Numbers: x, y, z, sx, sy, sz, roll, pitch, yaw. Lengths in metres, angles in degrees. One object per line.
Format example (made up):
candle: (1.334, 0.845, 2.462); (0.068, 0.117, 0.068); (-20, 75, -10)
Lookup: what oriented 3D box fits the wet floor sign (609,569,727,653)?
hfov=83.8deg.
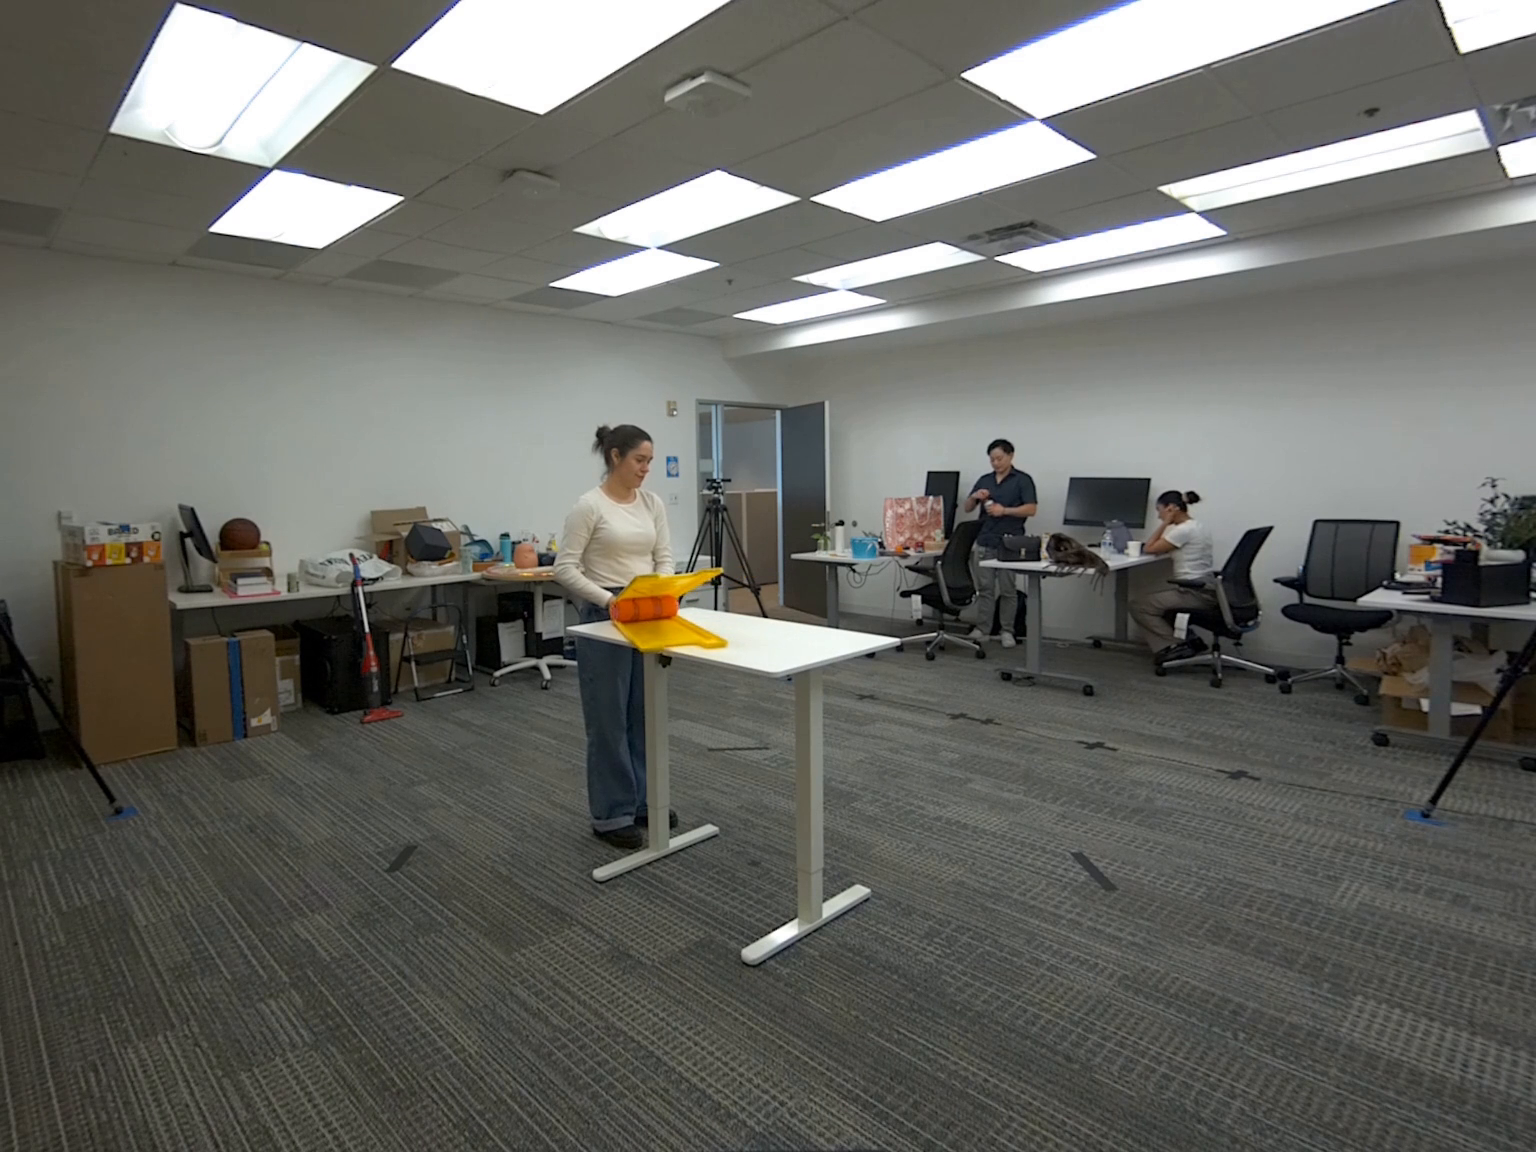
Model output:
wet floor sign: (-0.362, 0.124, 2.903); (0.277, 0.290, 0.656); (-5, 0, -21)
